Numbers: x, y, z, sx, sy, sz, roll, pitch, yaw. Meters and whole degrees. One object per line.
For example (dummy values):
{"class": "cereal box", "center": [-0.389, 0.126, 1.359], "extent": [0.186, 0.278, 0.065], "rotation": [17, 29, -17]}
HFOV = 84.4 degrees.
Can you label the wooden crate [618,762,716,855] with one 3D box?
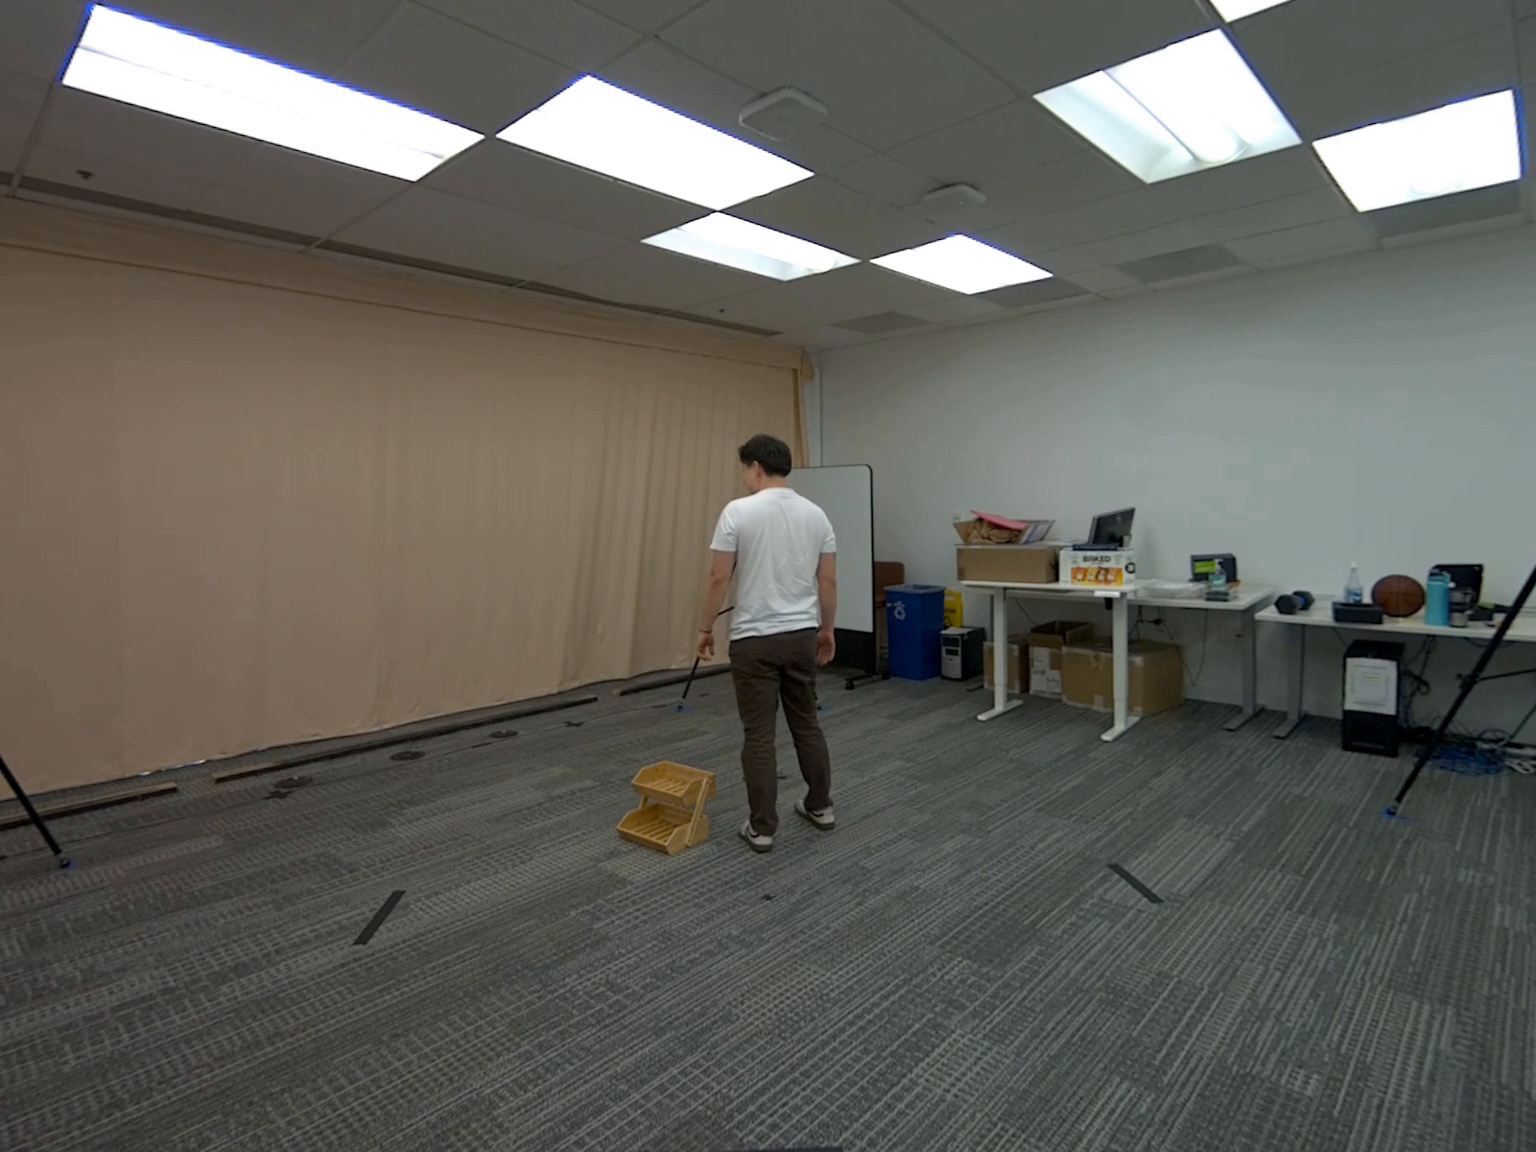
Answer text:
{"class": "wooden crate", "center": [-0.423, 0.967, 3.558], "extent": [0.335, 0.273, 0.293], "rotation": [1, 4, 39]}
